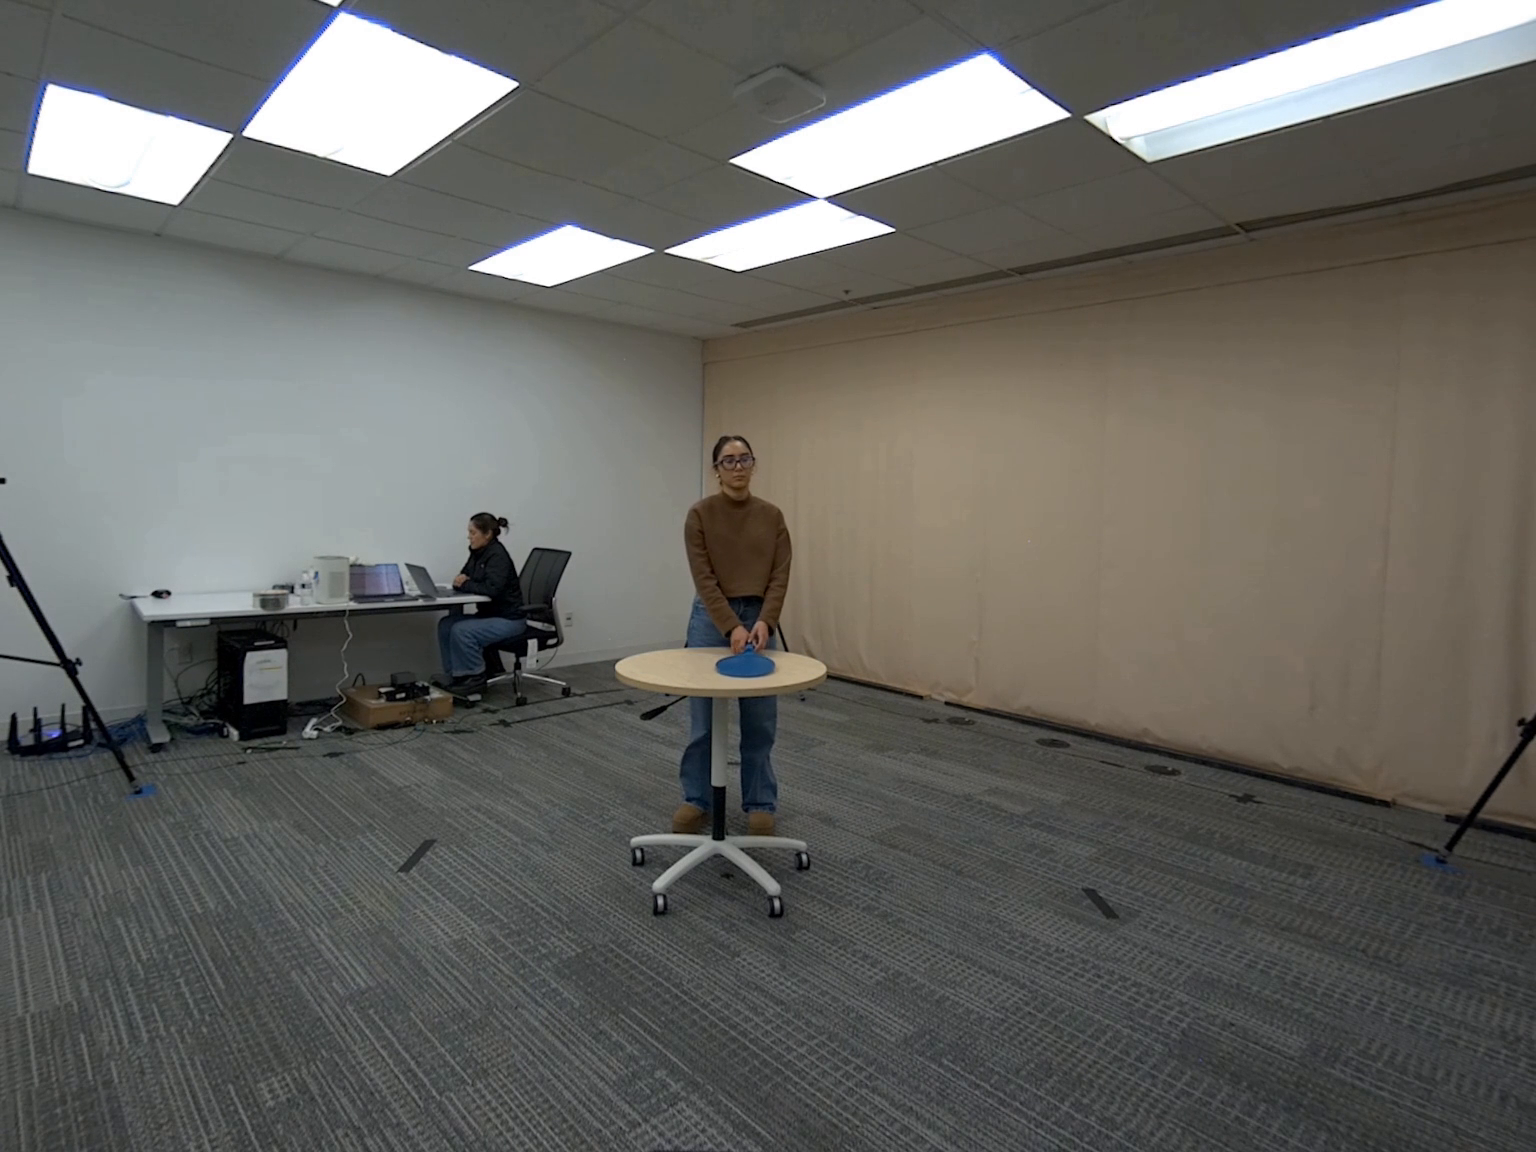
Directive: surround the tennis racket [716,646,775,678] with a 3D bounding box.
[{"bbox_3d":[-0.089,0.312,3.064,0.216,0.031,0.432,1,11,12],"label":"tennis racket"}]
